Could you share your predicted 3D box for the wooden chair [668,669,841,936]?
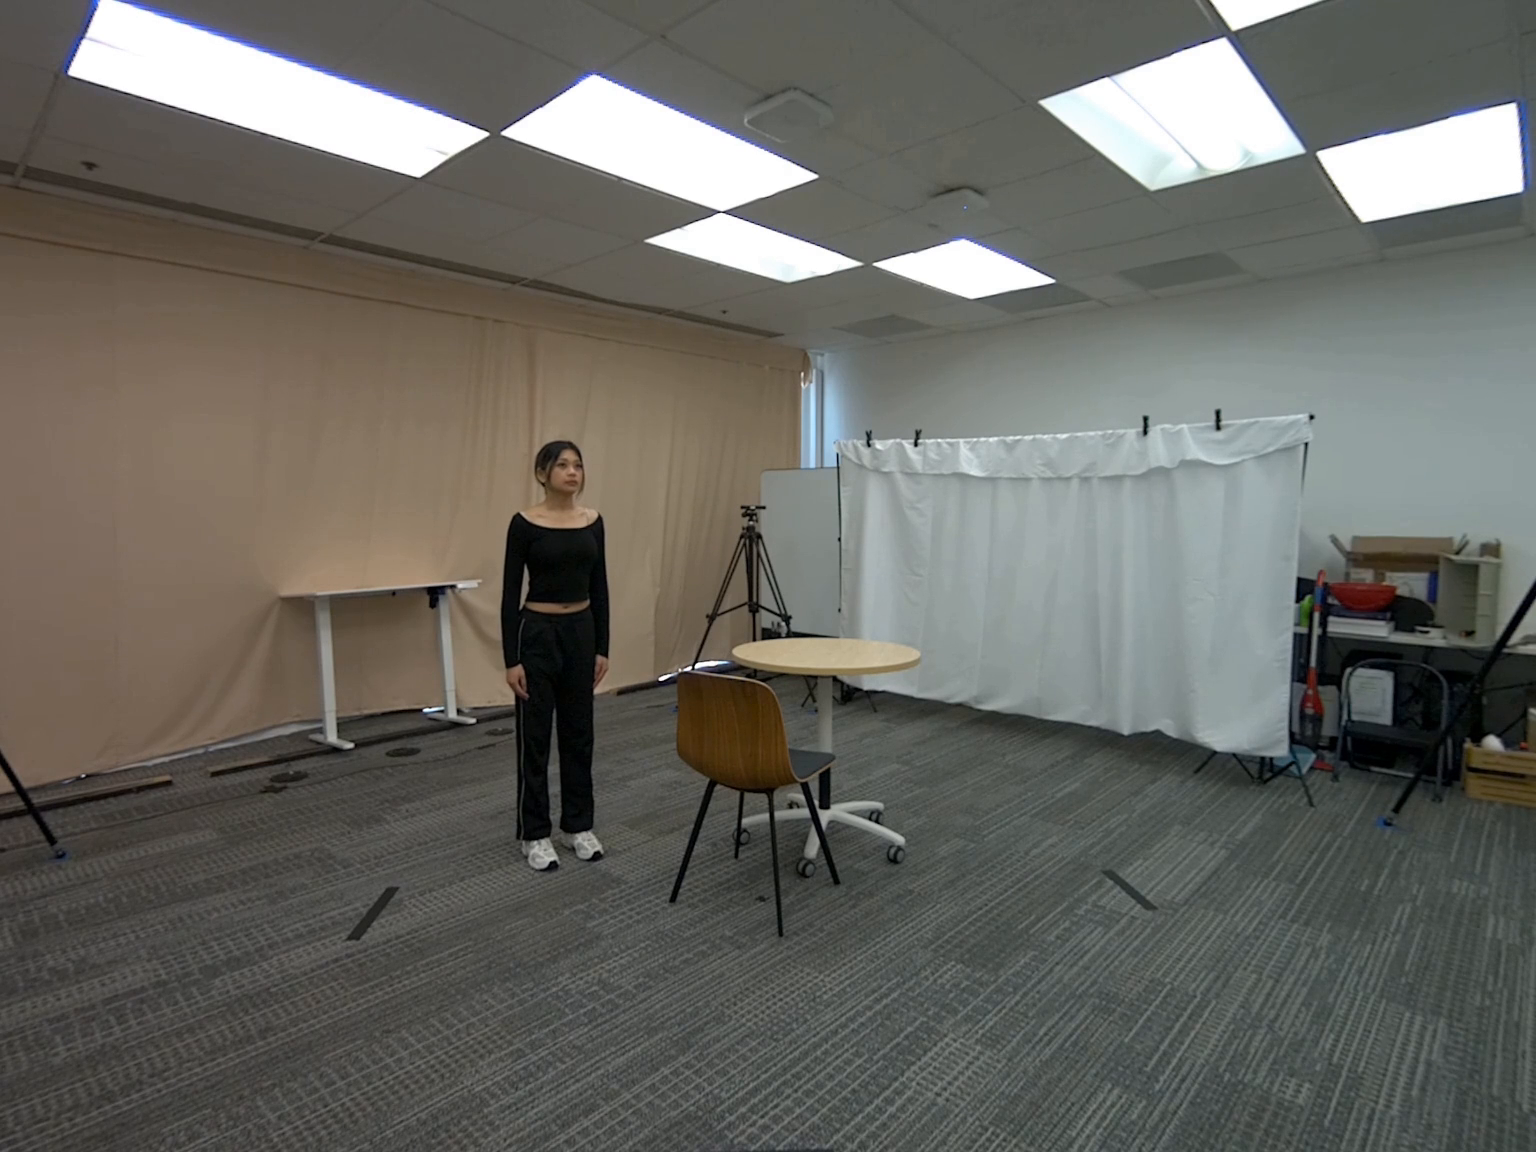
[{"bbox_3d":[-0.036,0.714,3.002,0.492,0.873,0.510,2,8,32],"label":"wooden chair"}]
